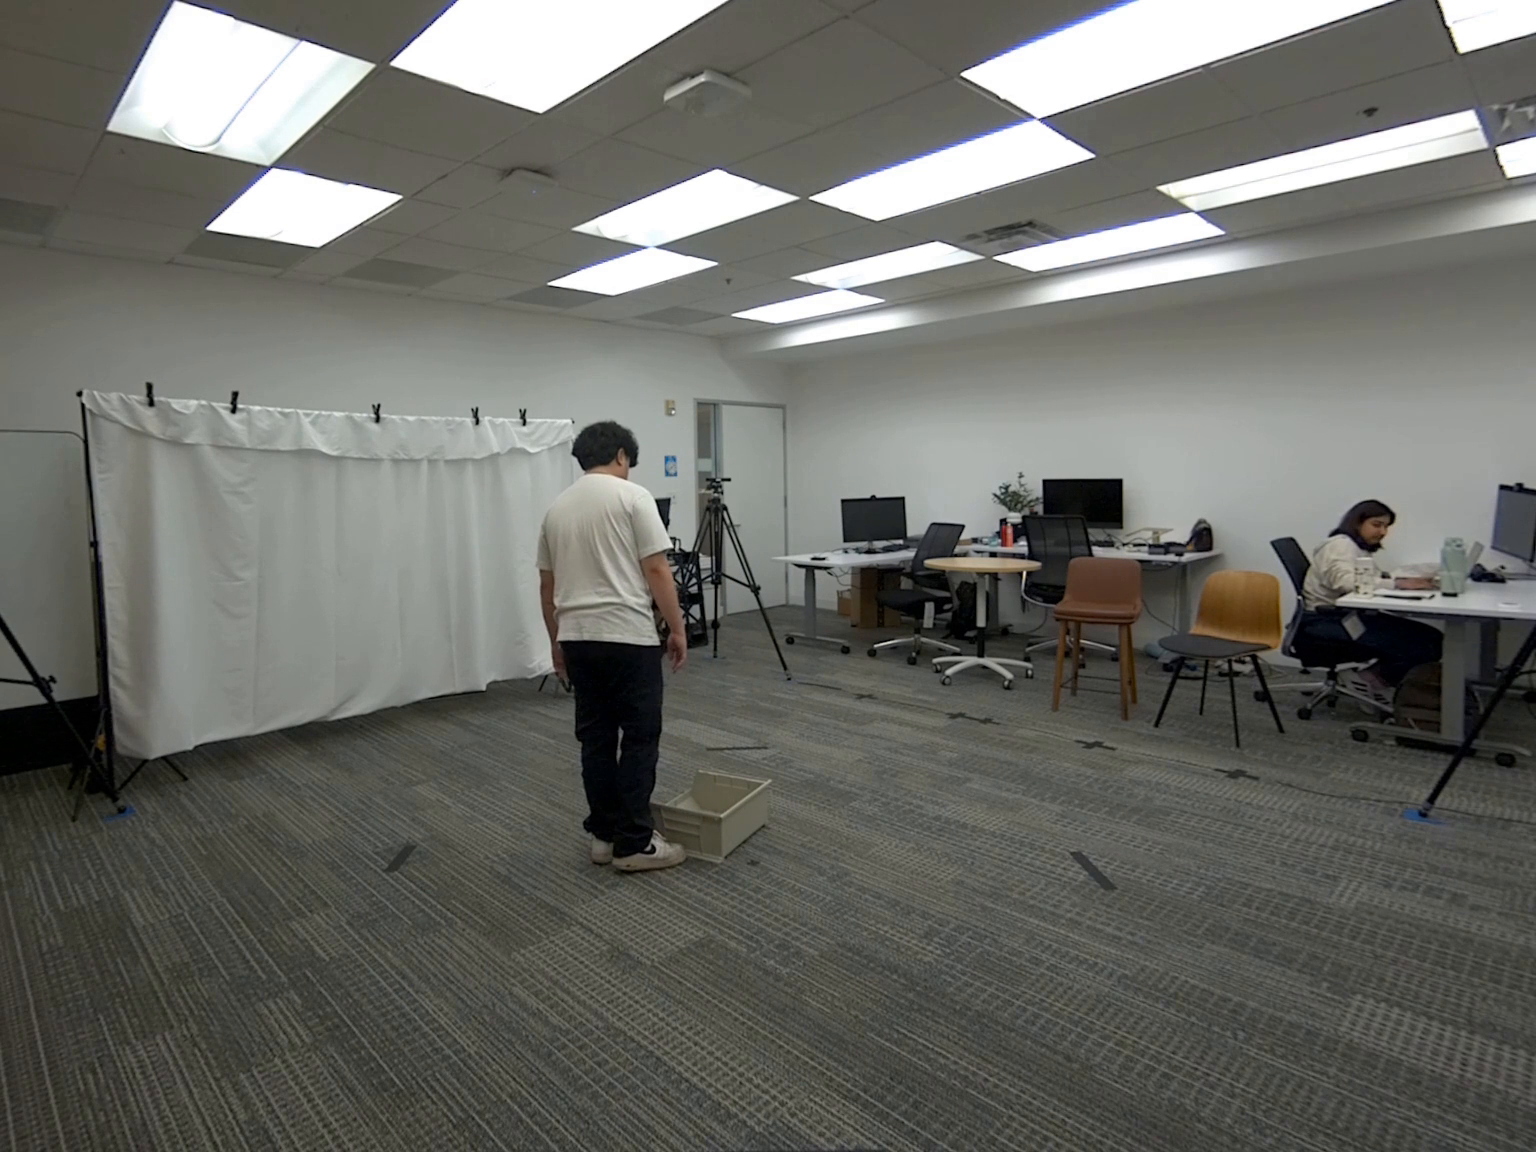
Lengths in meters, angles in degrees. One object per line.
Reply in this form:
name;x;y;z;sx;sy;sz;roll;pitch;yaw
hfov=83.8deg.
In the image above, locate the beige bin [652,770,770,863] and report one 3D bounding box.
beige bin;-0.242;0.927;3.361;0.387;0.188;0.414;3;7;27
